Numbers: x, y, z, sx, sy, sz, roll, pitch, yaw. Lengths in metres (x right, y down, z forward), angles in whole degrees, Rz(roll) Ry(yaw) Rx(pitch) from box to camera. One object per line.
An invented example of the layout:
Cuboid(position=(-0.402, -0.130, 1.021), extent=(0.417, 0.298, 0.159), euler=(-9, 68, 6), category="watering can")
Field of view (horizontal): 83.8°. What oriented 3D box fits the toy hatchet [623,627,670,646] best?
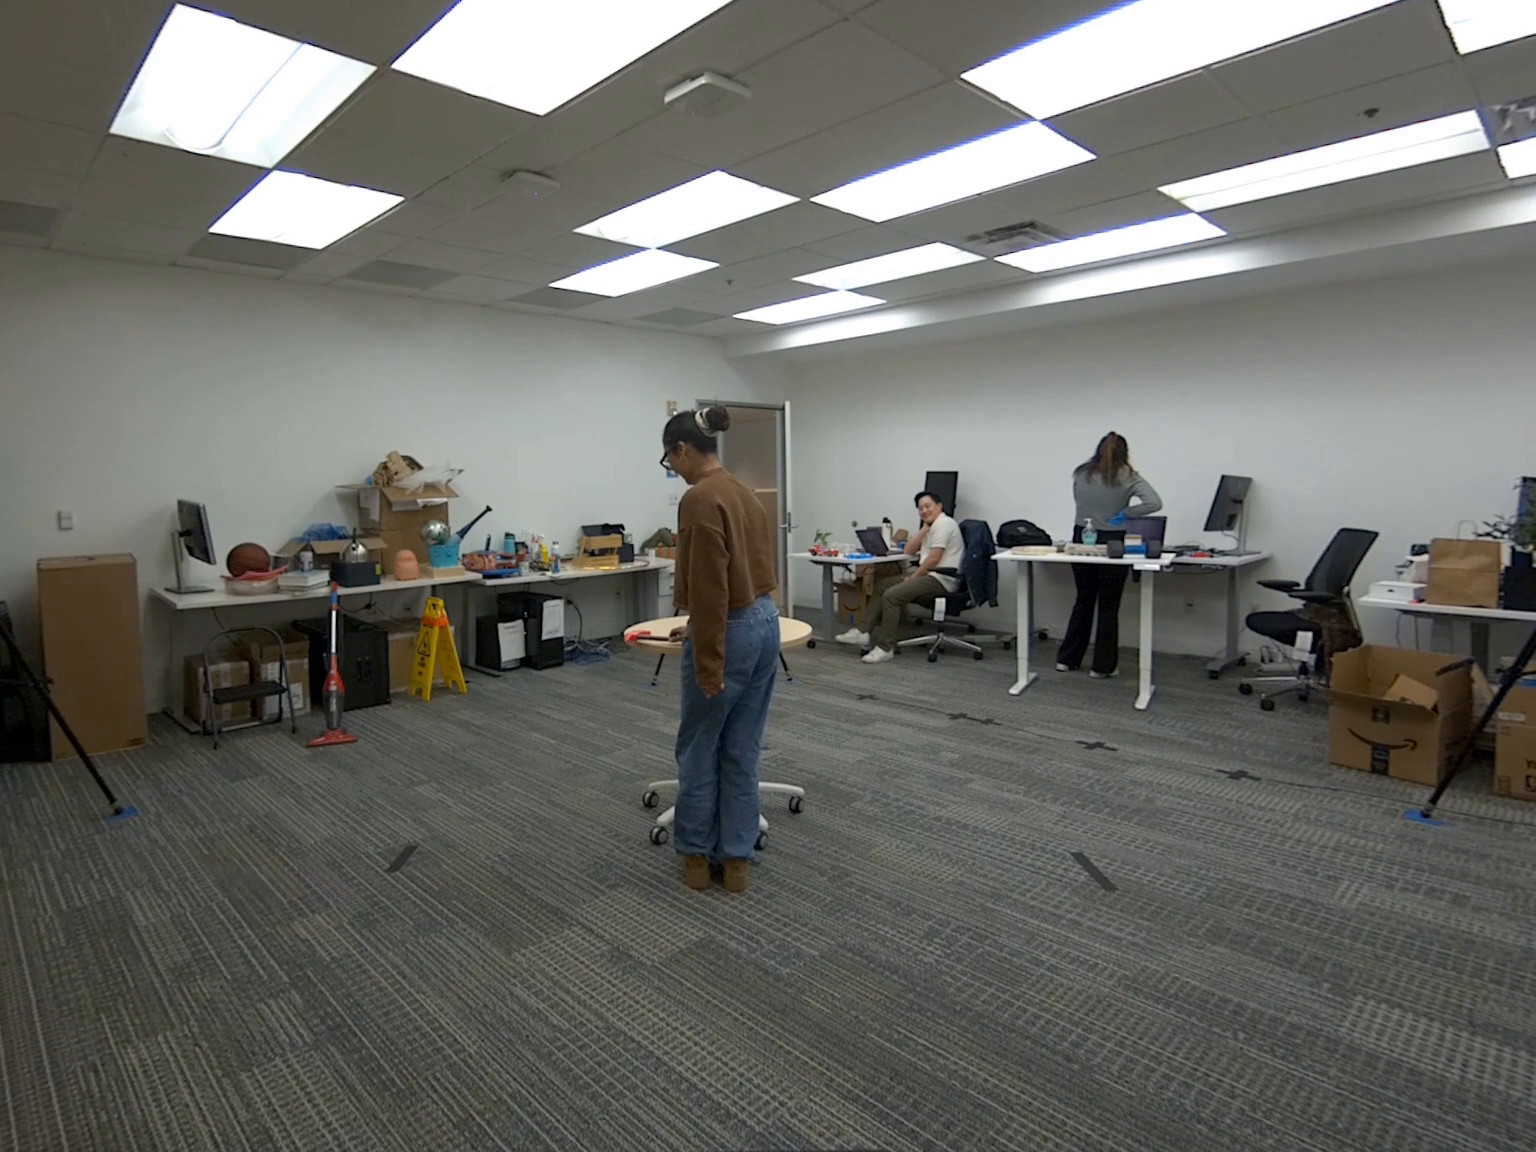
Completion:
Cuboid(position=(-0.418, 0.241, 3.187), extent=(0.277, 0.029, 0.128), euler=(4, 11, 31), category="toy hatchet")
